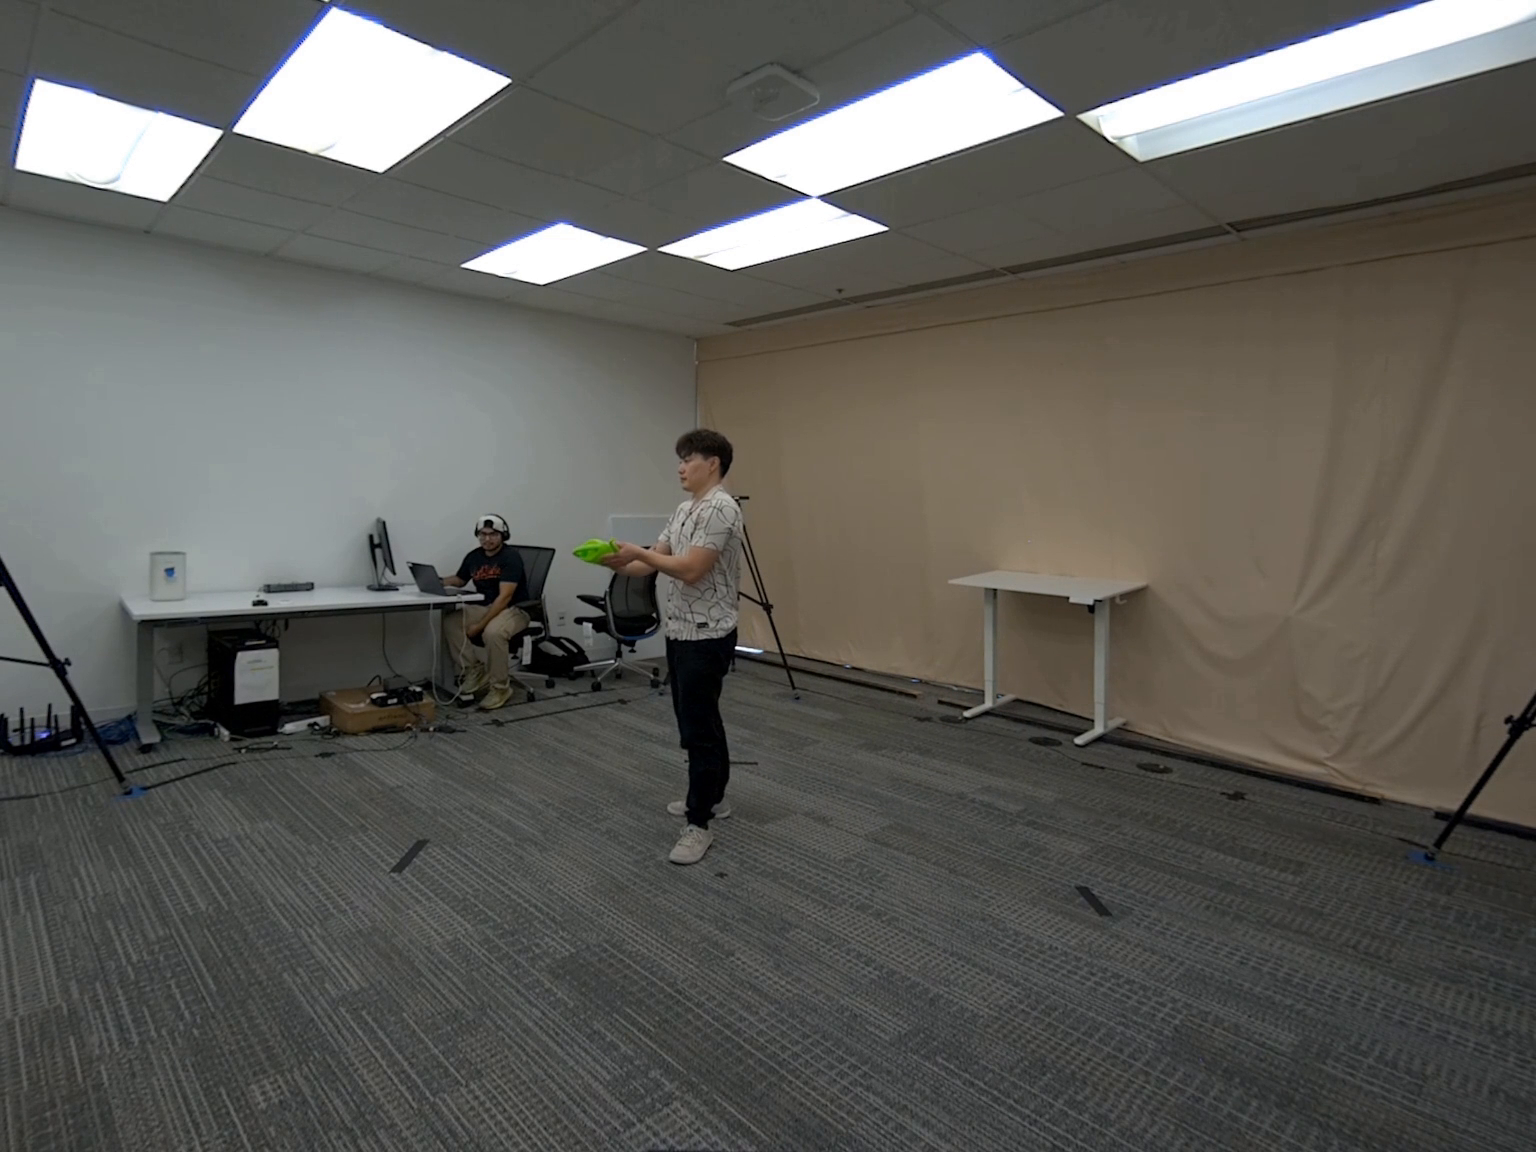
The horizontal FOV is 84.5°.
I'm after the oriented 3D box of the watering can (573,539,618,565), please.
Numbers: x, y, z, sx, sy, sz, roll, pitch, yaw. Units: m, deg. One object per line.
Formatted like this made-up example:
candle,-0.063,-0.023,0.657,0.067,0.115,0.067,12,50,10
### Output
watering can,-0.647,-0.090,3.314,0.285,0.098,0.171,3,-10,39
